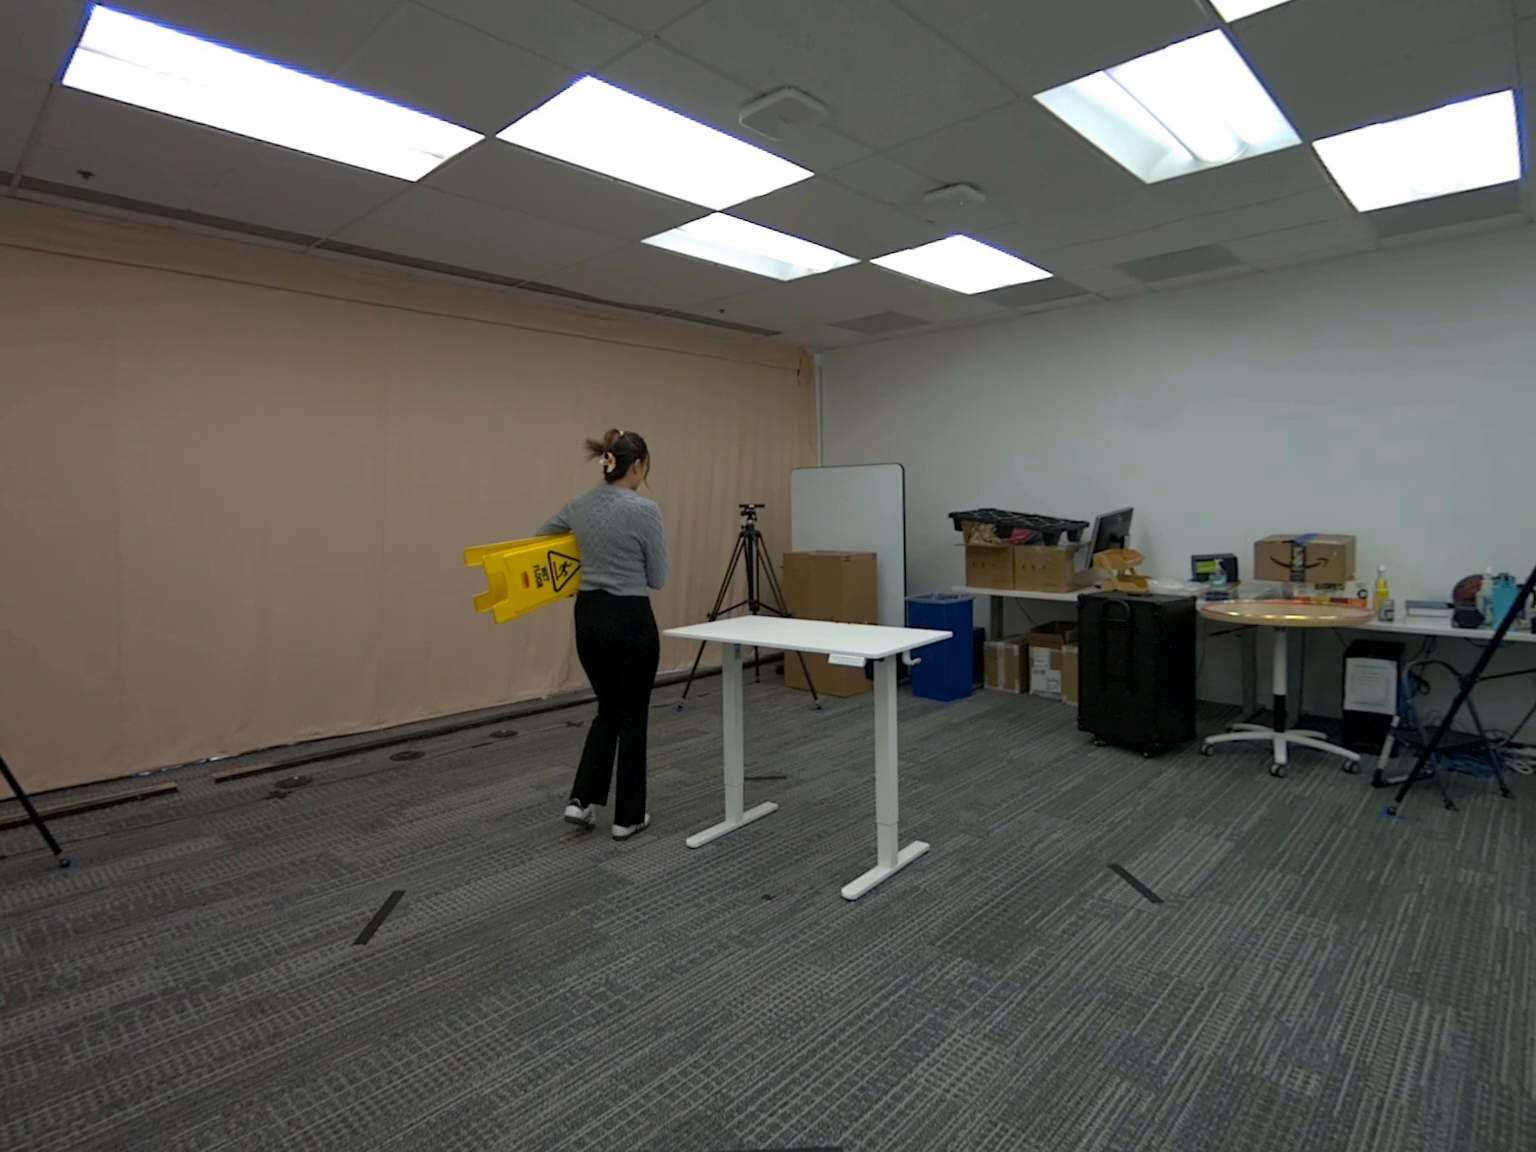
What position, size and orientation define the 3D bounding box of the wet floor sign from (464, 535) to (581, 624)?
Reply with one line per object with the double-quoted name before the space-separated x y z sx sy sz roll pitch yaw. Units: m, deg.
"wet floor sign" -0.920 -0.037 3.584 0.631 0.280 0.299 -17 14 -31
